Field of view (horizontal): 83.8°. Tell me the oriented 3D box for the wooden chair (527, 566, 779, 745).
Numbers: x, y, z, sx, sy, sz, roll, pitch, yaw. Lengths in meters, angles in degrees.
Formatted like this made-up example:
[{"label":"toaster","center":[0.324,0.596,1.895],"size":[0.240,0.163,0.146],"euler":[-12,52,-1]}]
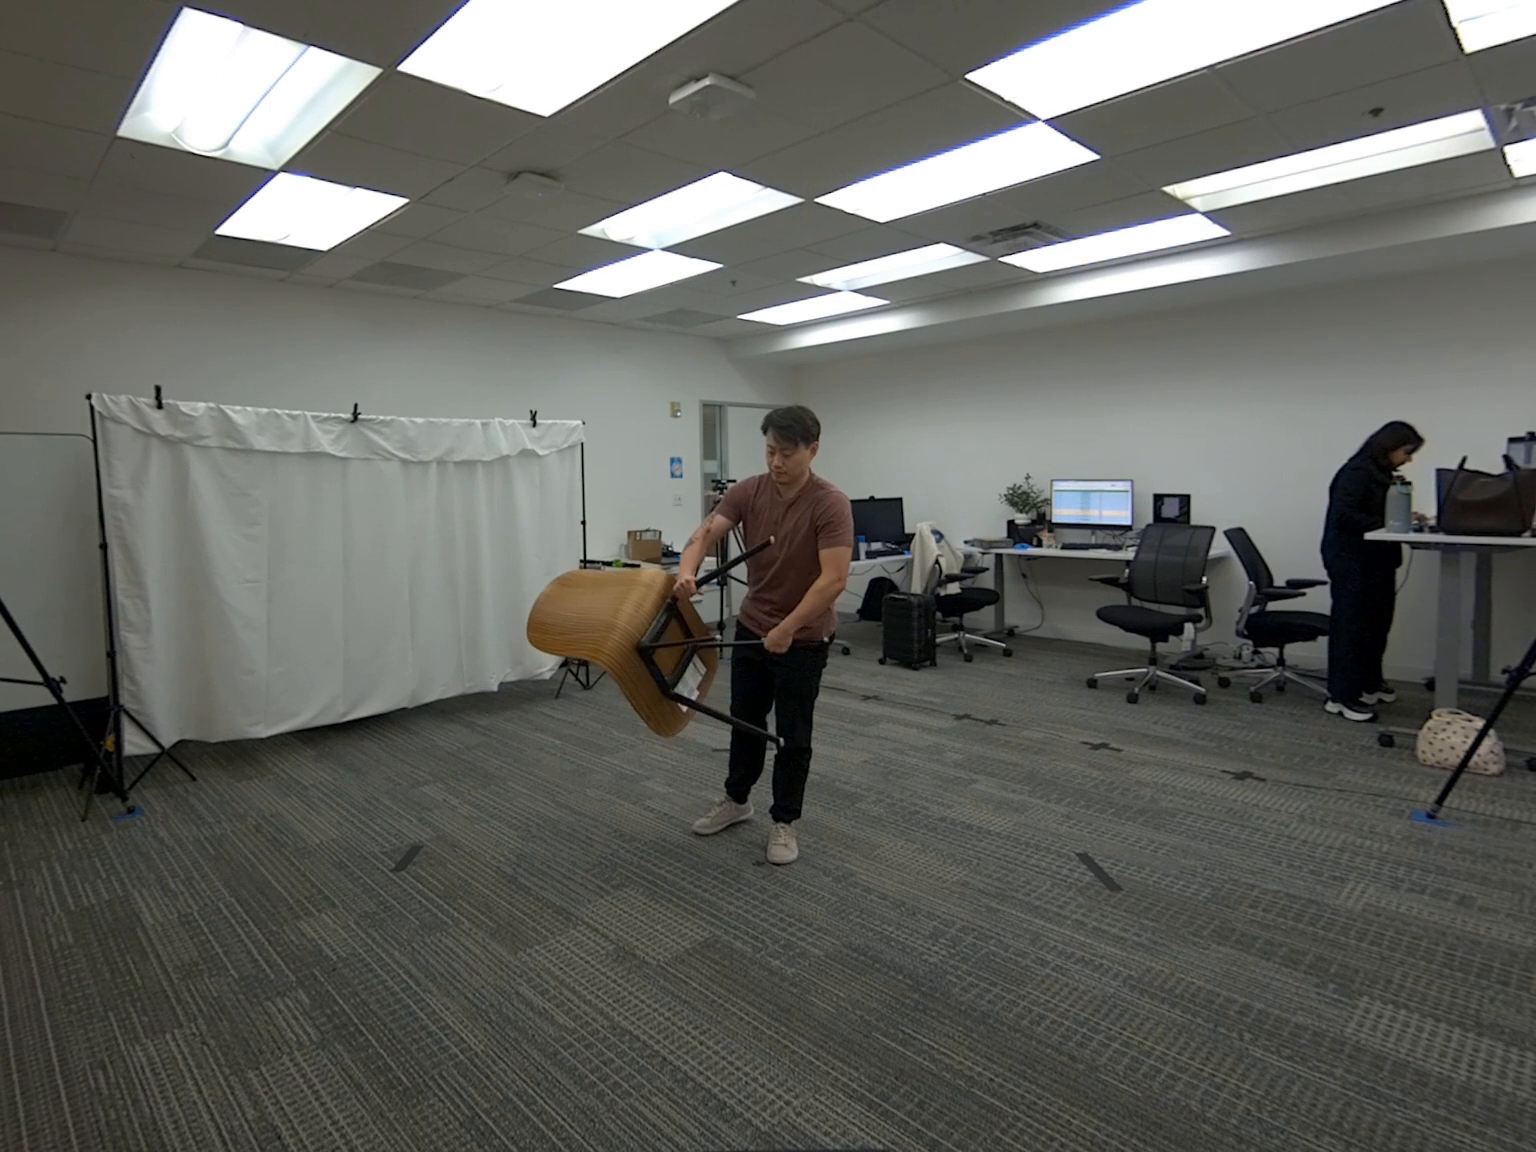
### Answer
[{"label":"wooden chair","center":[-0.317,0.243,2.889],"size":[0.899,0.506,0.482],"euler":[-3,40,32]}]
